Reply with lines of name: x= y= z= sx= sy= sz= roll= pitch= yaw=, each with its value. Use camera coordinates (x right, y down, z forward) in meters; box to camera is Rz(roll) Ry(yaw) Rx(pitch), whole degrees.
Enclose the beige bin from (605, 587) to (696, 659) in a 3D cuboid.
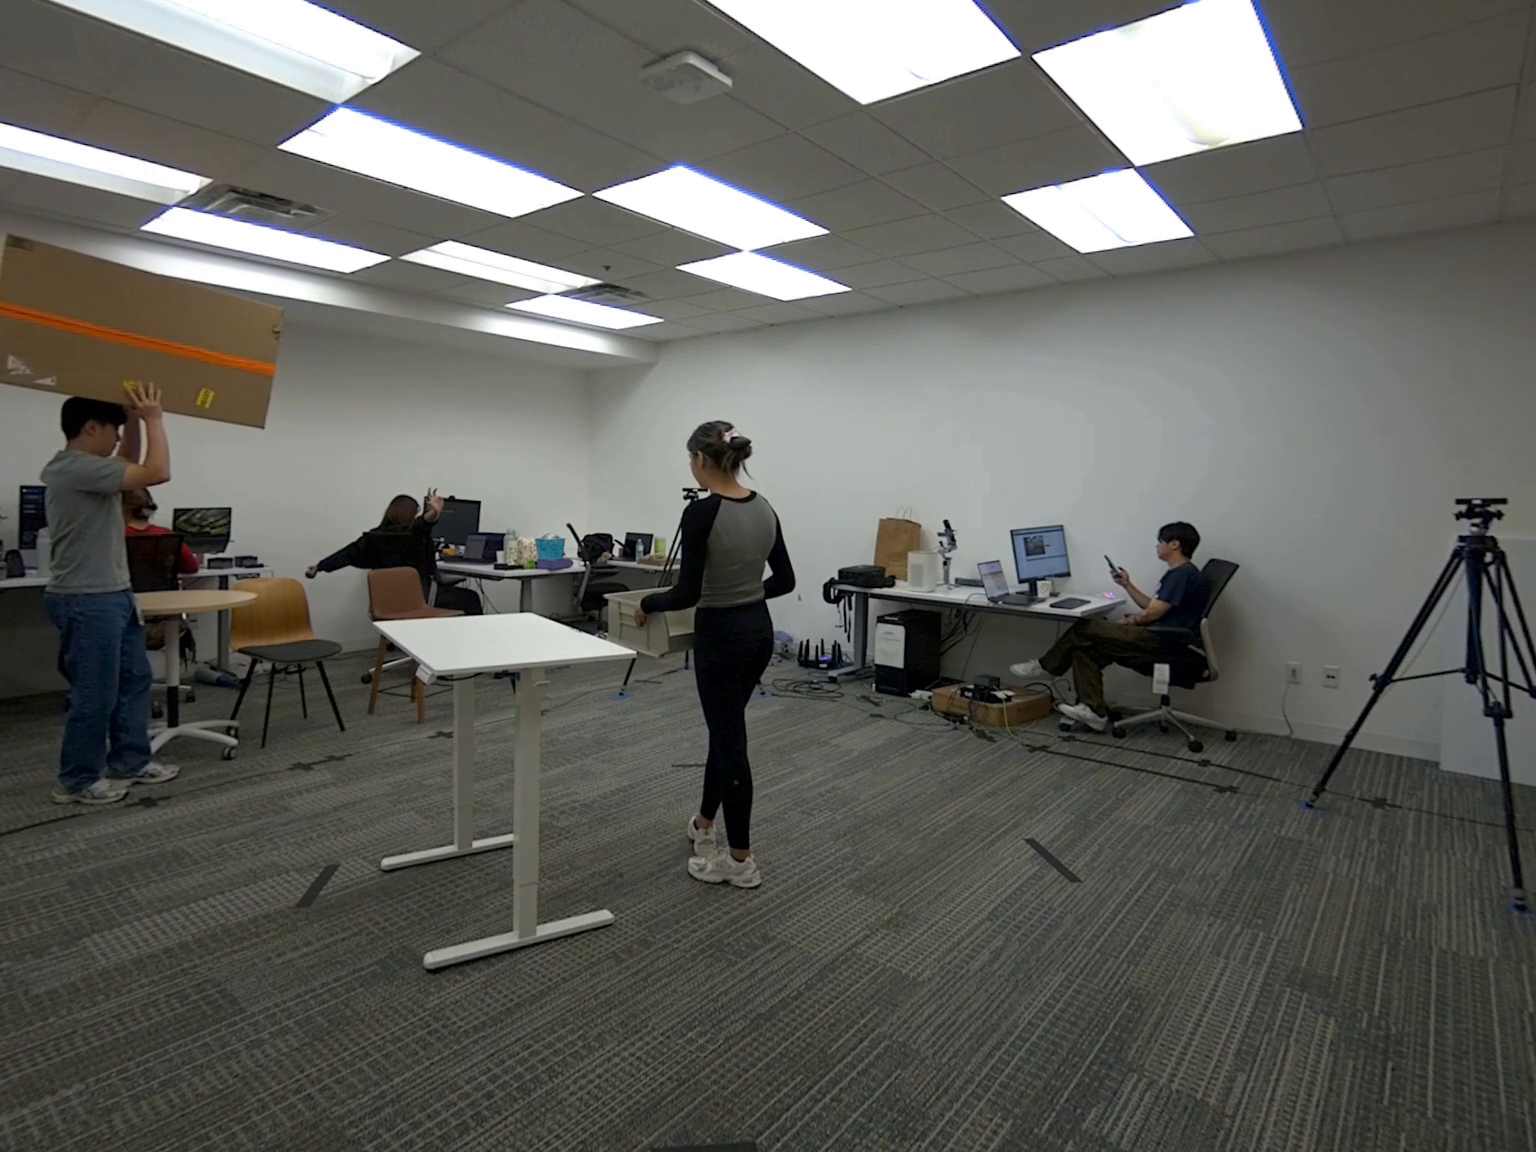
beige bin: x=-0.362 y=0.165 z=3.271 sx=0.390 sy=0.188 sz=0.410 roll=7 pitch=10 yaw=44
